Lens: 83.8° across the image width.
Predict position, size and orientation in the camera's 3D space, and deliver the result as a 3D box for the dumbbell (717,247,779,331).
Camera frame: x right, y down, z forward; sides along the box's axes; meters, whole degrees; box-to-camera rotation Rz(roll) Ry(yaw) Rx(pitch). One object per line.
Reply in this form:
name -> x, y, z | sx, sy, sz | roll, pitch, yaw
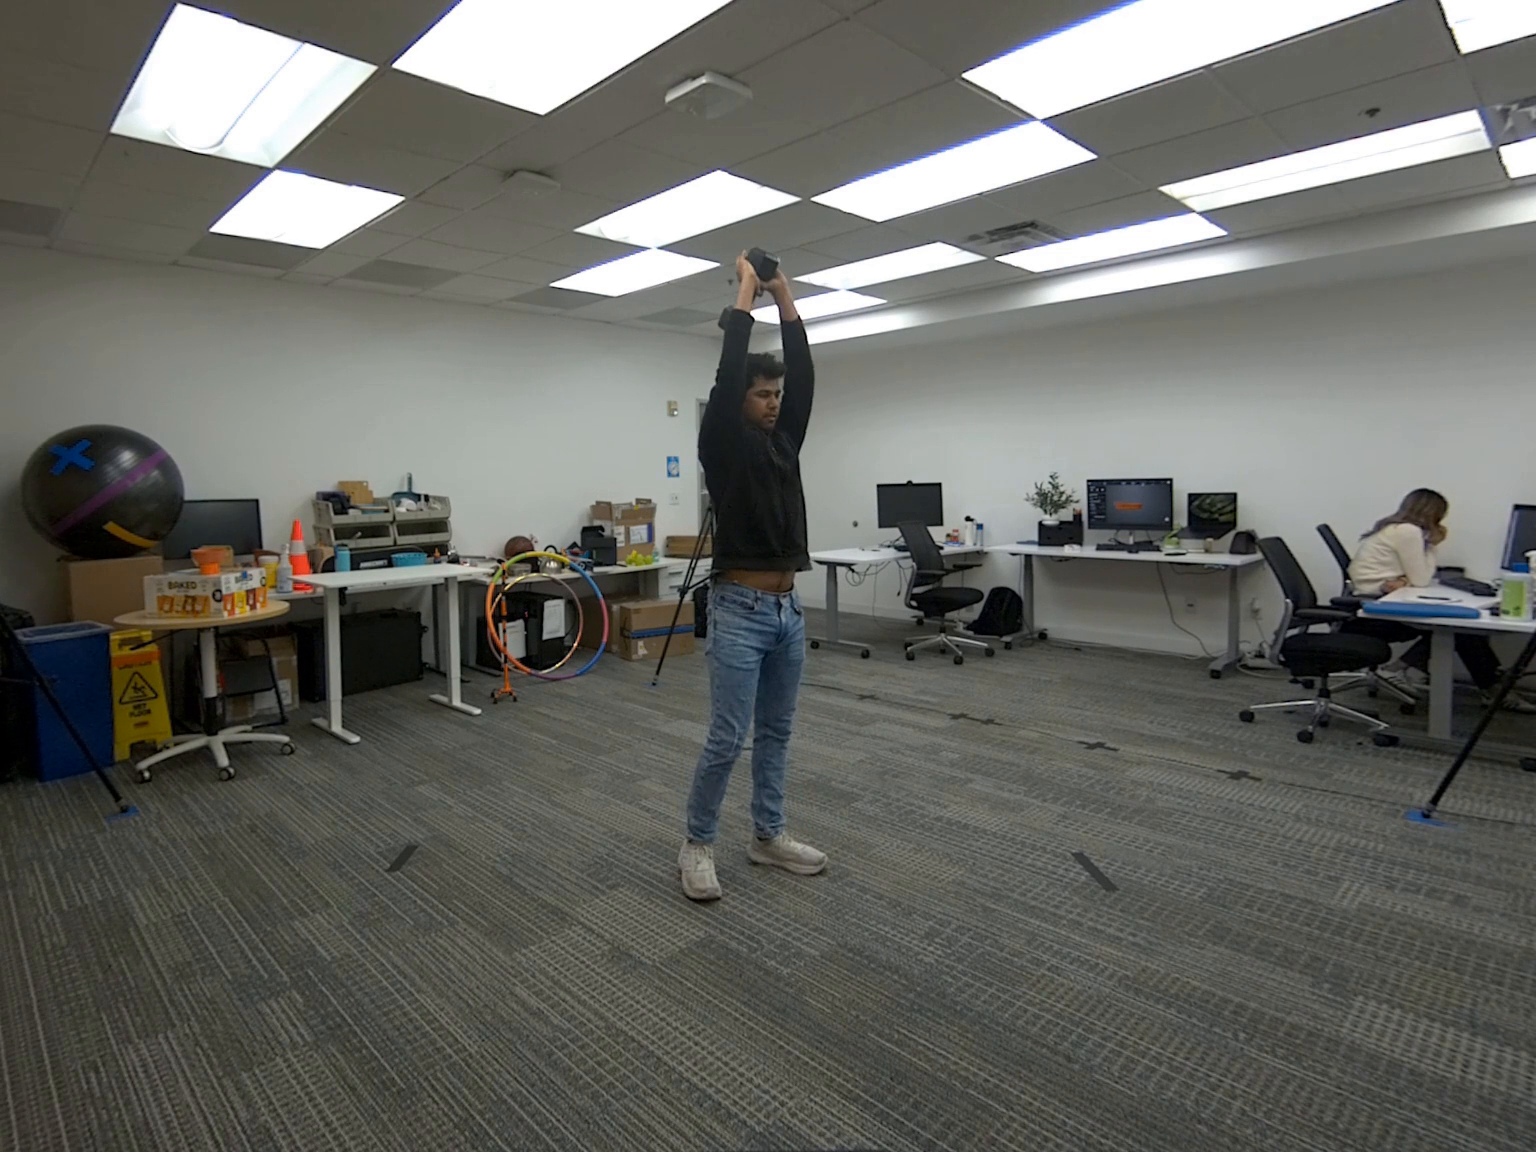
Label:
dumbbell -> -0.063, -0.971, 2.922 | 0.119, 0.291, 0.113 | 15, 25, -33
